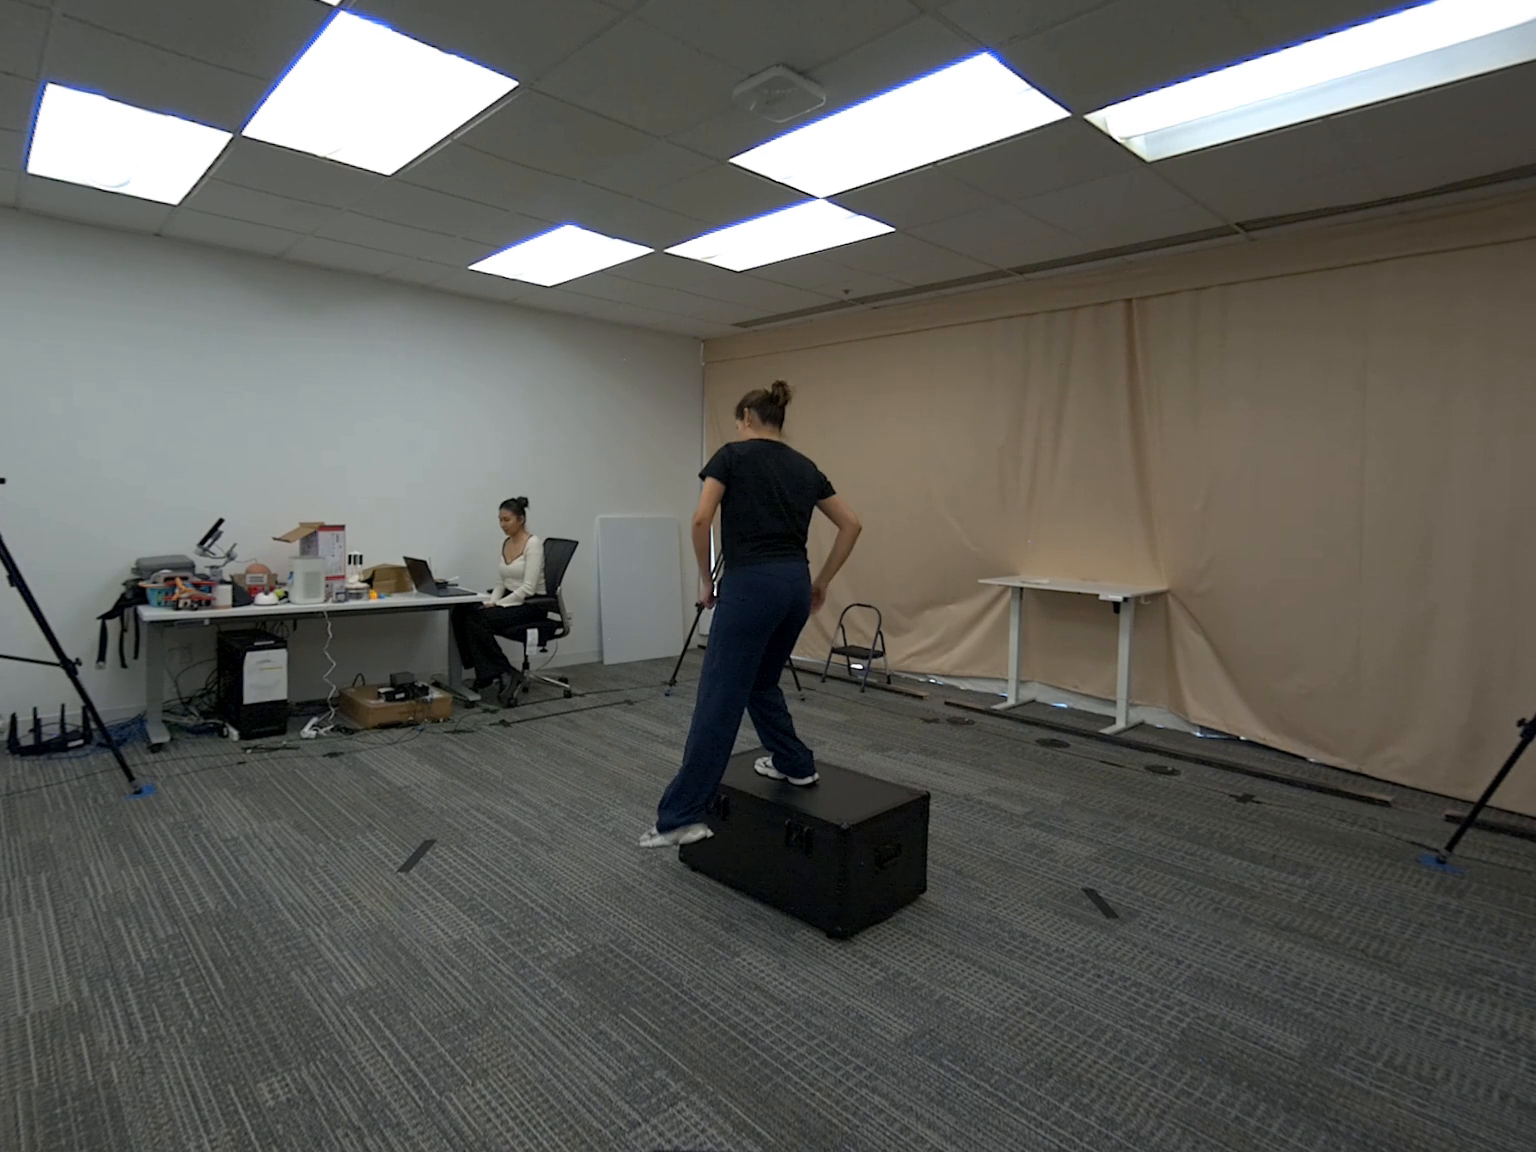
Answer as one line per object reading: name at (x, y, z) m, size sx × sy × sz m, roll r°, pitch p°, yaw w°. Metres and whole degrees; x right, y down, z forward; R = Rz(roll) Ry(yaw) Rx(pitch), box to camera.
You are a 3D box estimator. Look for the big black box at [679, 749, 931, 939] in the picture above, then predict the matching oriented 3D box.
big black box at (0.091, 0.927, 3.075) m, size 0.884 × 0.395 × 0.509 m, roll 6°, pitch 6°, yaw 43°
